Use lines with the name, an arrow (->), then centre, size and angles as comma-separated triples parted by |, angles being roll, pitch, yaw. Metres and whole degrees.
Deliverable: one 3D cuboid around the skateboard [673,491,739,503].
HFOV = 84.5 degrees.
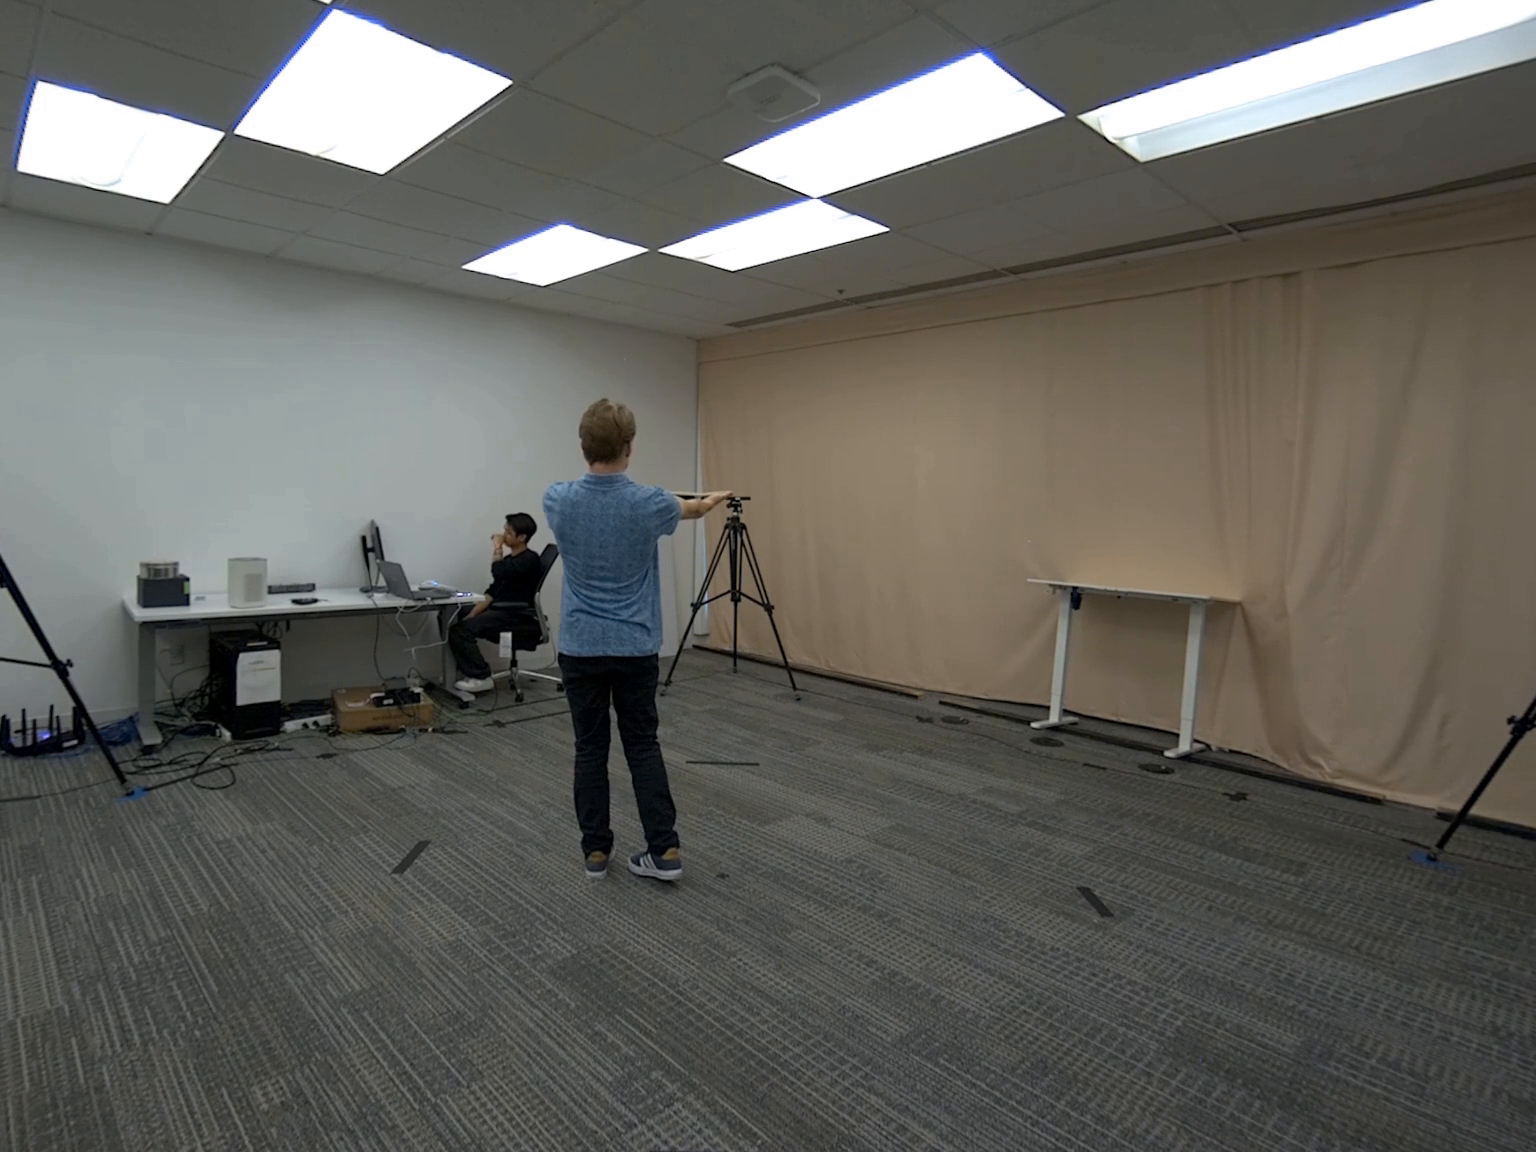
skateboard -> -0.565, -0.322, 3.632 | 0.789, 0.110, 0.193 | 3, 2, 6
